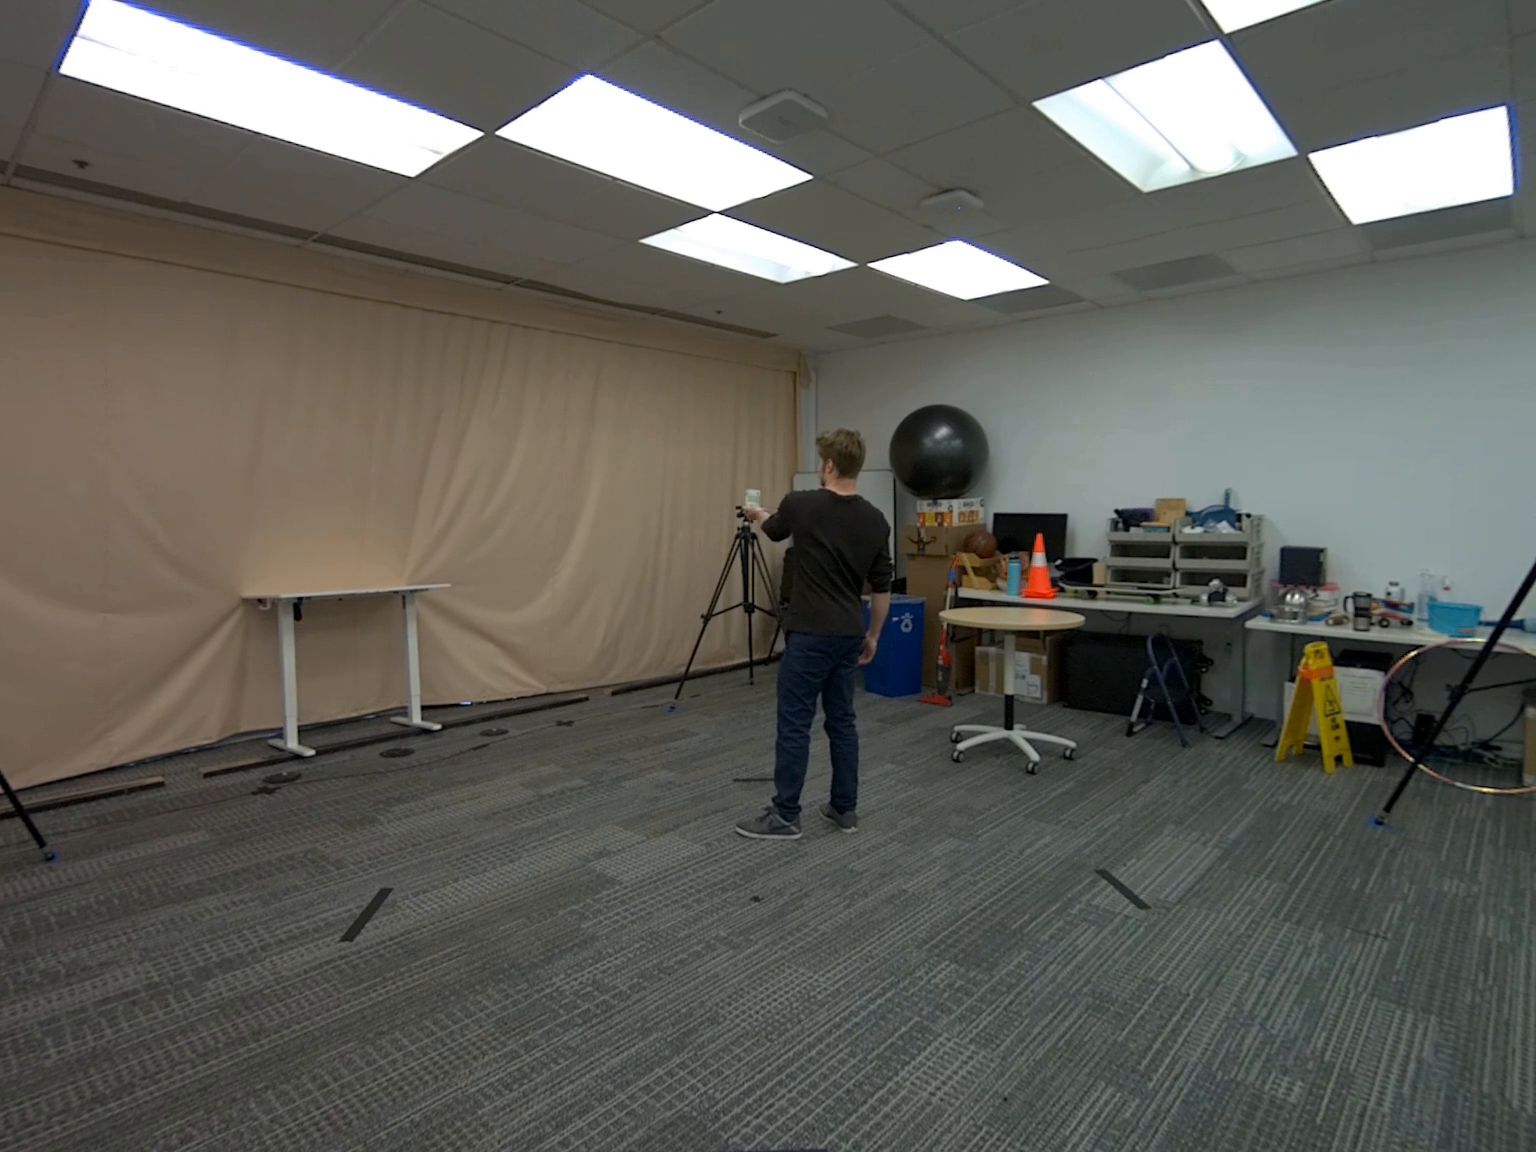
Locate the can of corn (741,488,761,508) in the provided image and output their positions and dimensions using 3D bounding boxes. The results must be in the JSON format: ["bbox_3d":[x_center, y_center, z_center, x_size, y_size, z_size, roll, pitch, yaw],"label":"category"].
[{"bbox_3d":[-0.071,-0.374,4.136,0.074,0.111,0.074,-1,5,-2],"label":"can of corn"}]
